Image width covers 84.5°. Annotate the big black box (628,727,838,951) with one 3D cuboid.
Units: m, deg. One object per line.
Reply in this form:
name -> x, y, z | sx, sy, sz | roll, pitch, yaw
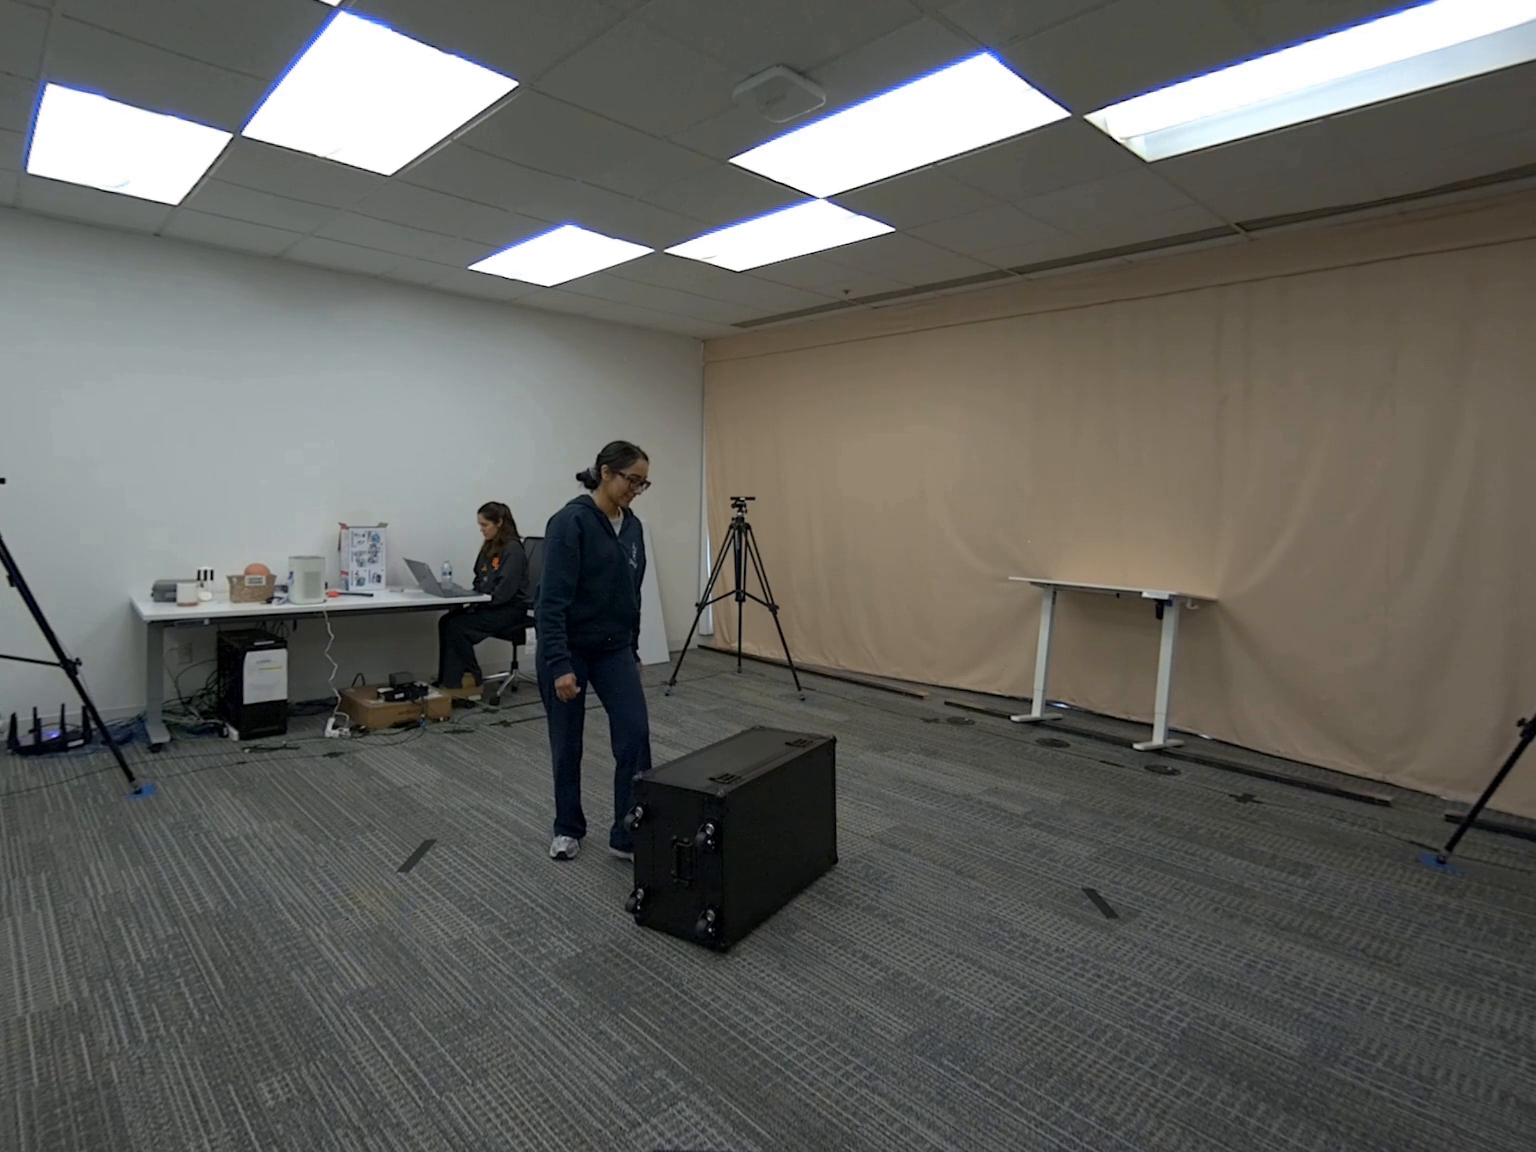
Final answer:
big black box -> -0.120, 0.866, 2.940 | 0.405, 0.520, 0.845 | 1, 4, 30
